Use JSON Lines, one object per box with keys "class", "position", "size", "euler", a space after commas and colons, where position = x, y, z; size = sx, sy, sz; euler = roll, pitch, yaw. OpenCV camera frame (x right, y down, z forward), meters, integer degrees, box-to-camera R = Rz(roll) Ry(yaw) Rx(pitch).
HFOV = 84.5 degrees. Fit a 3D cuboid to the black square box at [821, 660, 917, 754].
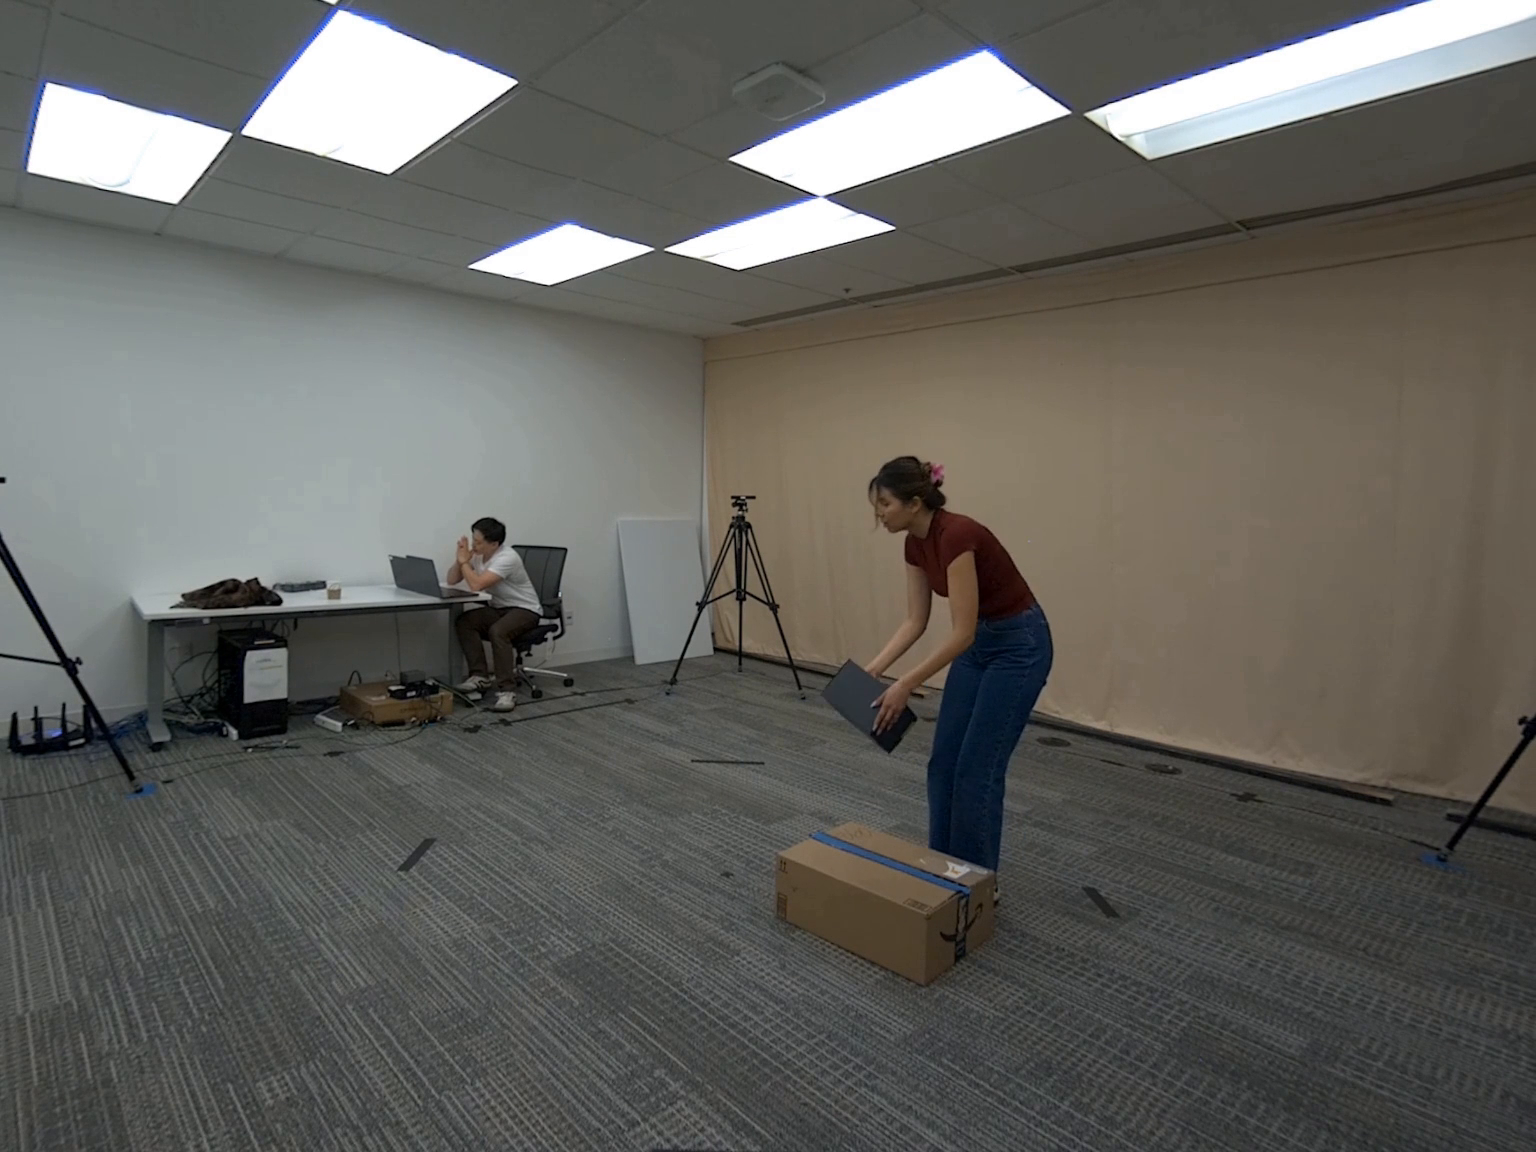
{"class": "black square box", "position": [0.333, 0.434, 2.799], "size": [0.235, 0.156, 0.210], "euler": [36, -8, 36]}
